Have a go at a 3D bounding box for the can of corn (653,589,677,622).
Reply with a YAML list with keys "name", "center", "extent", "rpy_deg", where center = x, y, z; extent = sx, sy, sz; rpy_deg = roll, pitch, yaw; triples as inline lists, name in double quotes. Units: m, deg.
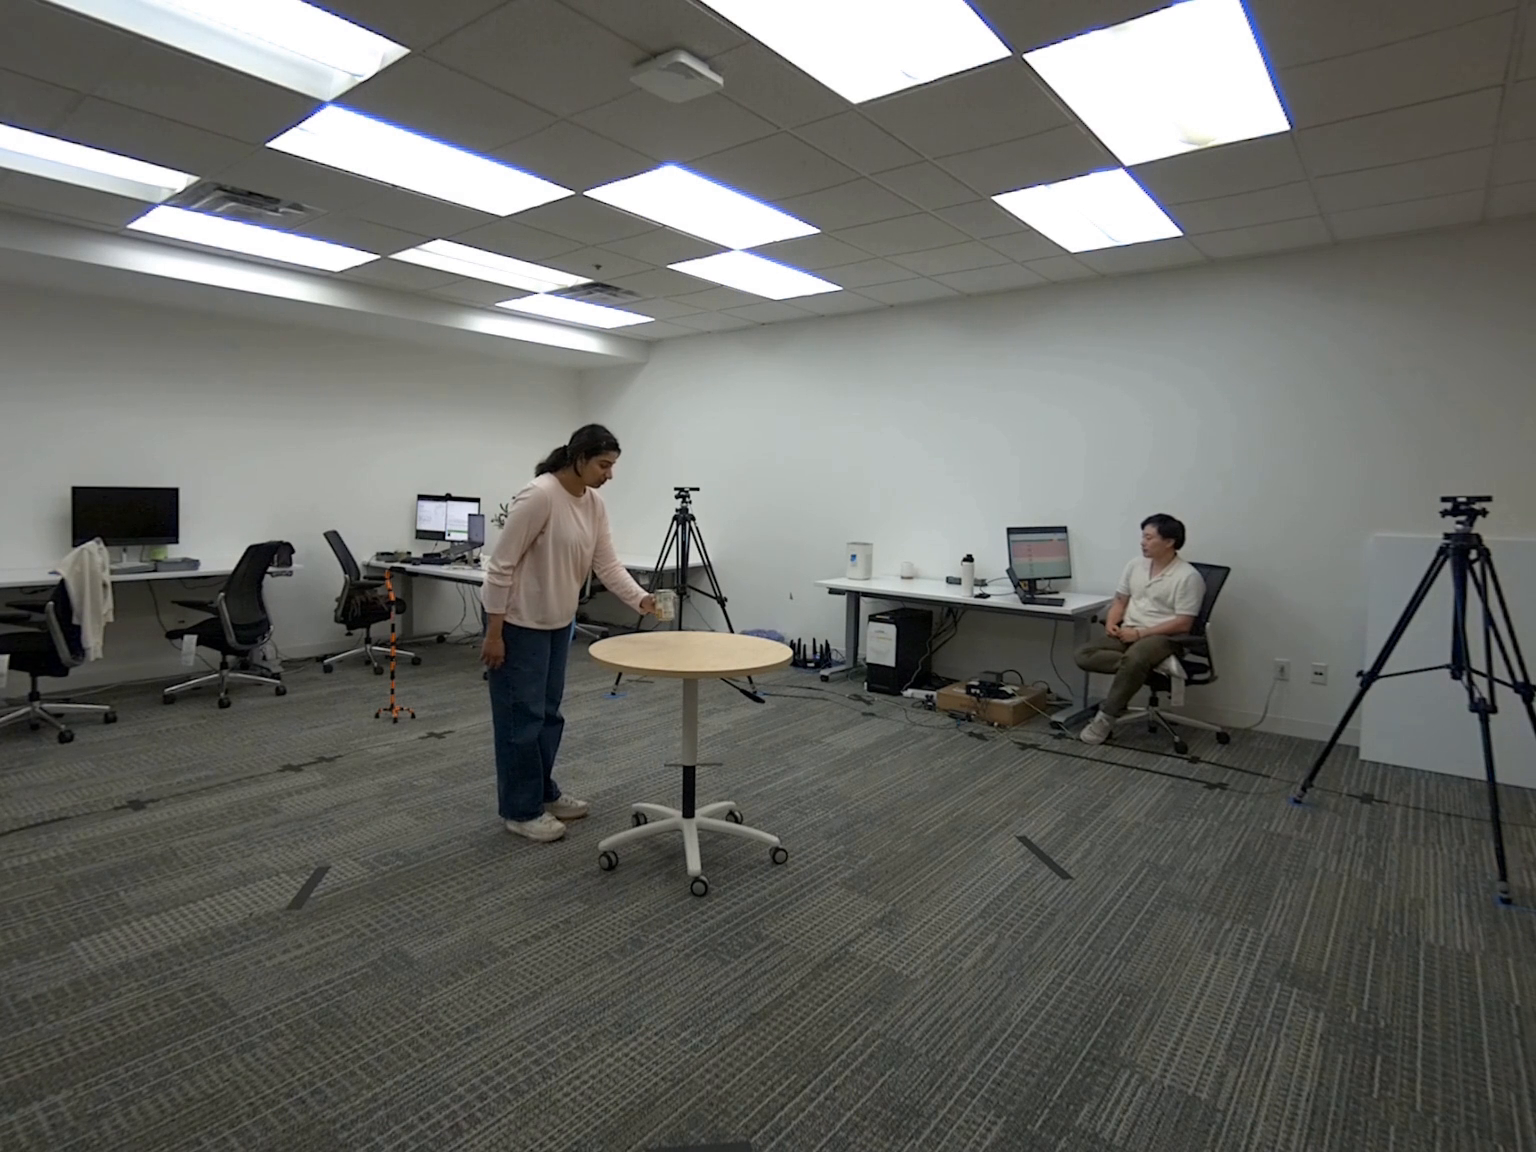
- name: "can of corn"
  center: [-0.413, 0.108, 3.289]
  extent: [0.074, 0.111, 0.074]
  rpy_deg: [-3, 3, -2]
